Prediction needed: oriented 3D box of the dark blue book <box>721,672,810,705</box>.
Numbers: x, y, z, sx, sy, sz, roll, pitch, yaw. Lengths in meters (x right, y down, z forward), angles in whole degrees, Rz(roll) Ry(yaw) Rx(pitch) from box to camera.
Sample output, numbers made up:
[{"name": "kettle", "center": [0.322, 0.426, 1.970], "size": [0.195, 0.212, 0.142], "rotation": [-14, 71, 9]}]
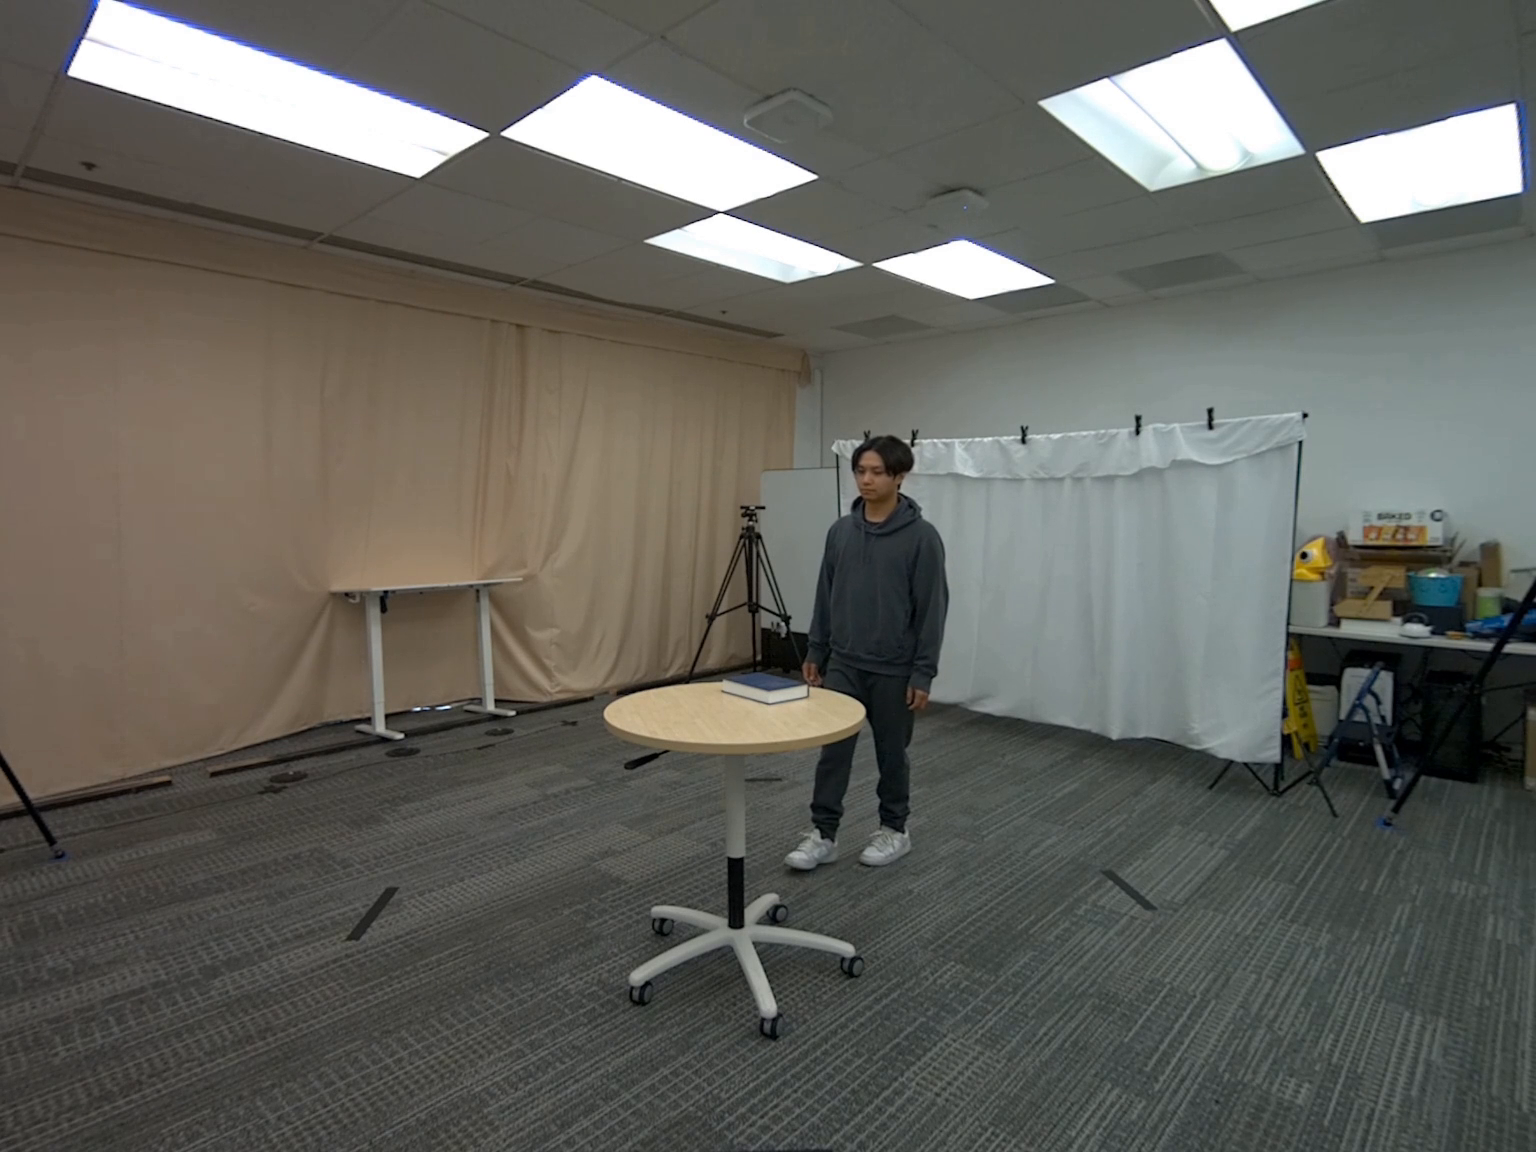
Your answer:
[{"name": "dark blue book", "center": [-0.010, 0.357, 2.656], "size": [0.158, 0.045, 0.253], "rotation": [-4, 6, -38]}]
